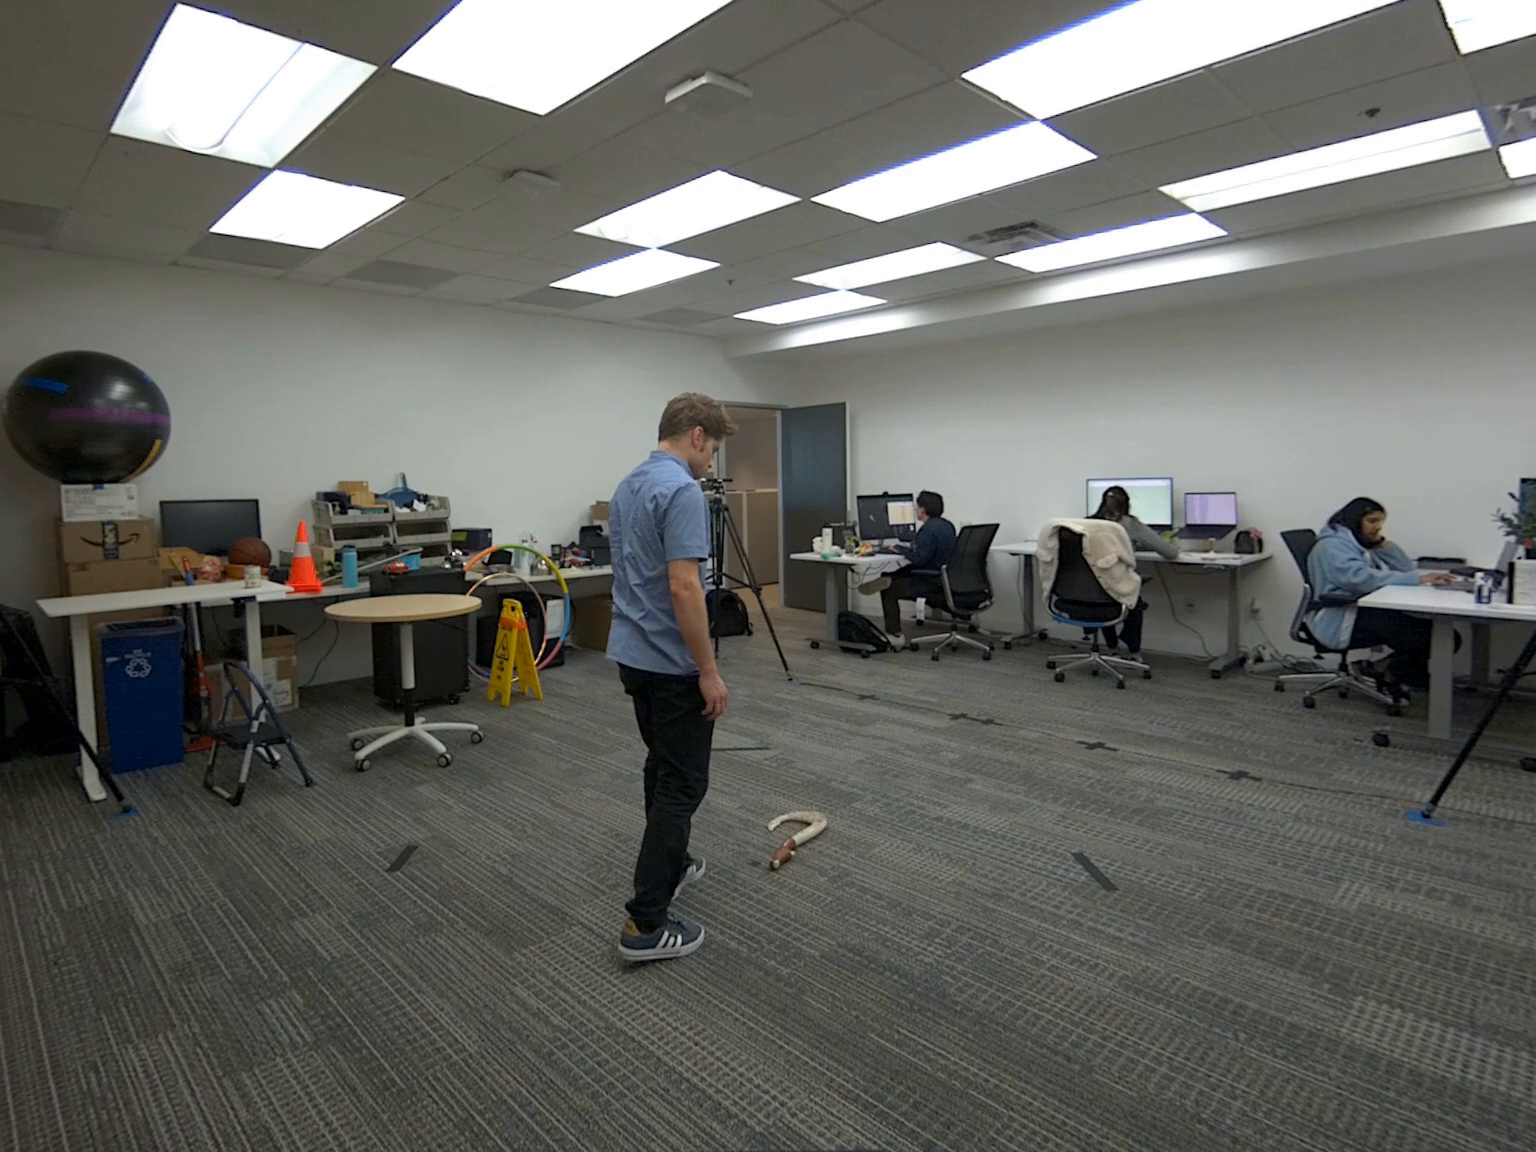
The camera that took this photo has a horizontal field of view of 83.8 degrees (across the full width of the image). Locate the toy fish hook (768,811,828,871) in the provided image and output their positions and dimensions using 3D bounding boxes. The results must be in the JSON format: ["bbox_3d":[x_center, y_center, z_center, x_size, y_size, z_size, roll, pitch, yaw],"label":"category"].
[{"bbox_3d":[0.068,1.008,3.285,0.229,0.048,0.497,-7,3,24],"label":"toy fish hook"}]
